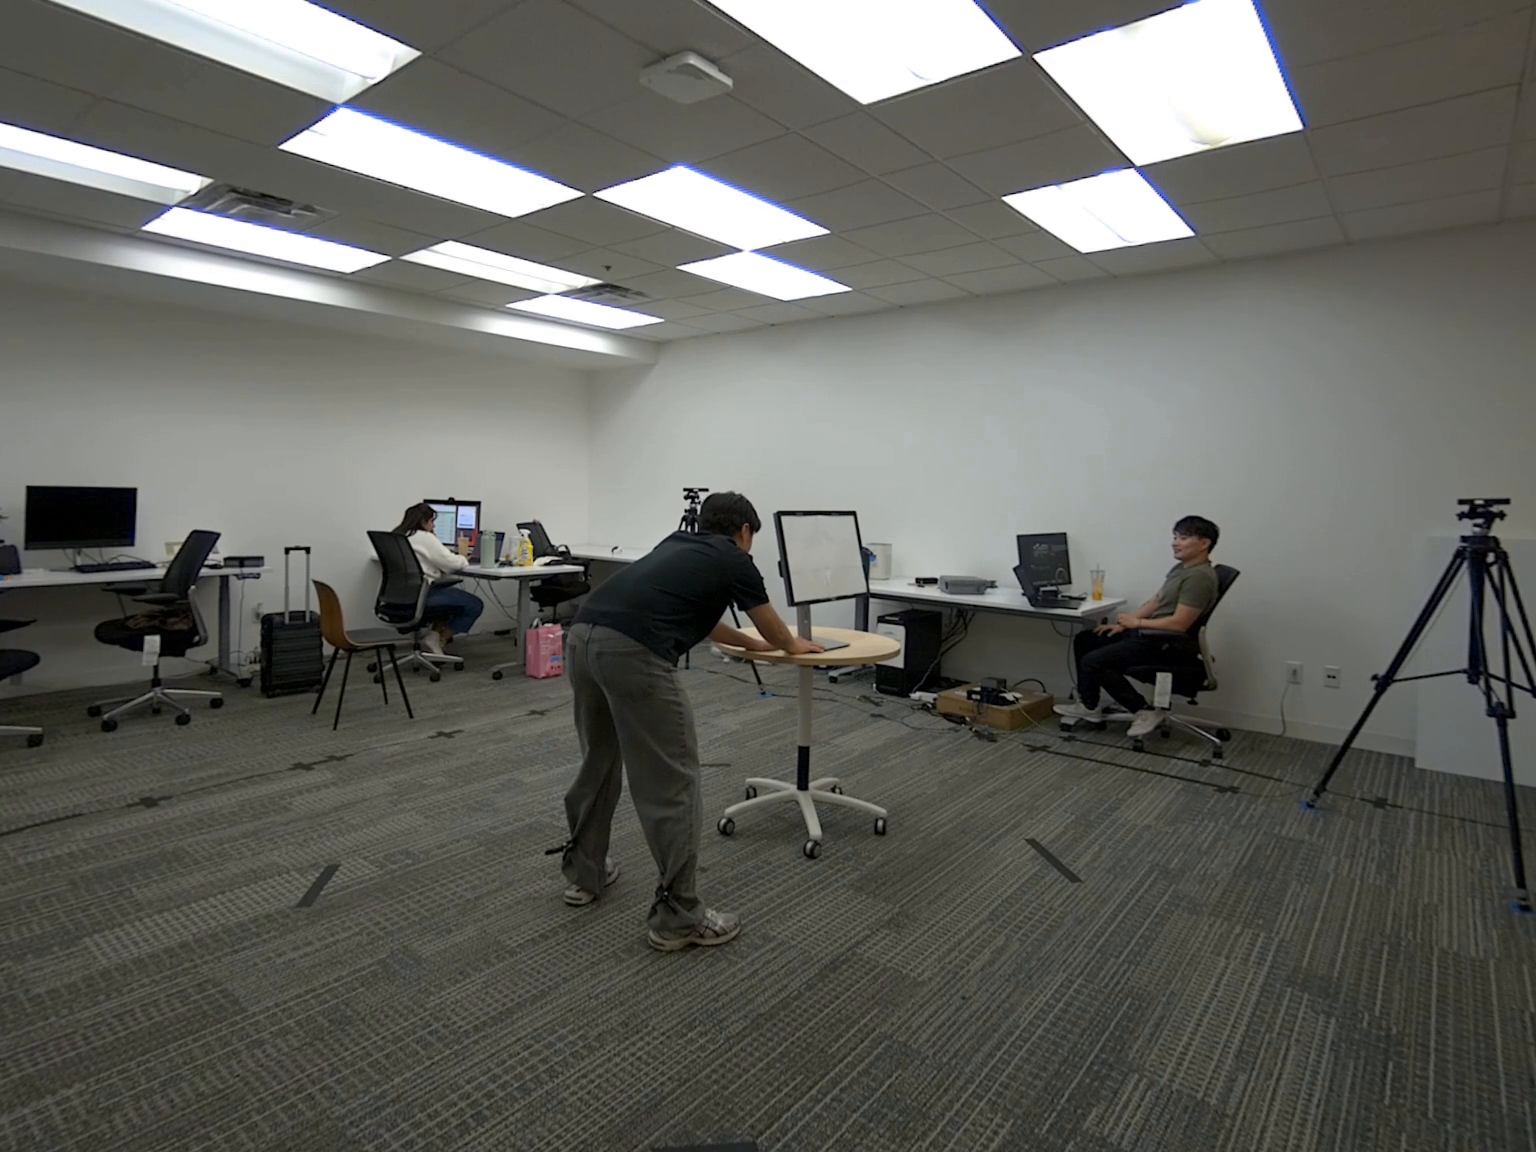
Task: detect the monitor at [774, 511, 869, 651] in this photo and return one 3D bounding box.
[{"bbox_3d":[0.166,0.009,3.429,0.216,0.555,0.549,-5,0,38],"label":"monitor"}]
